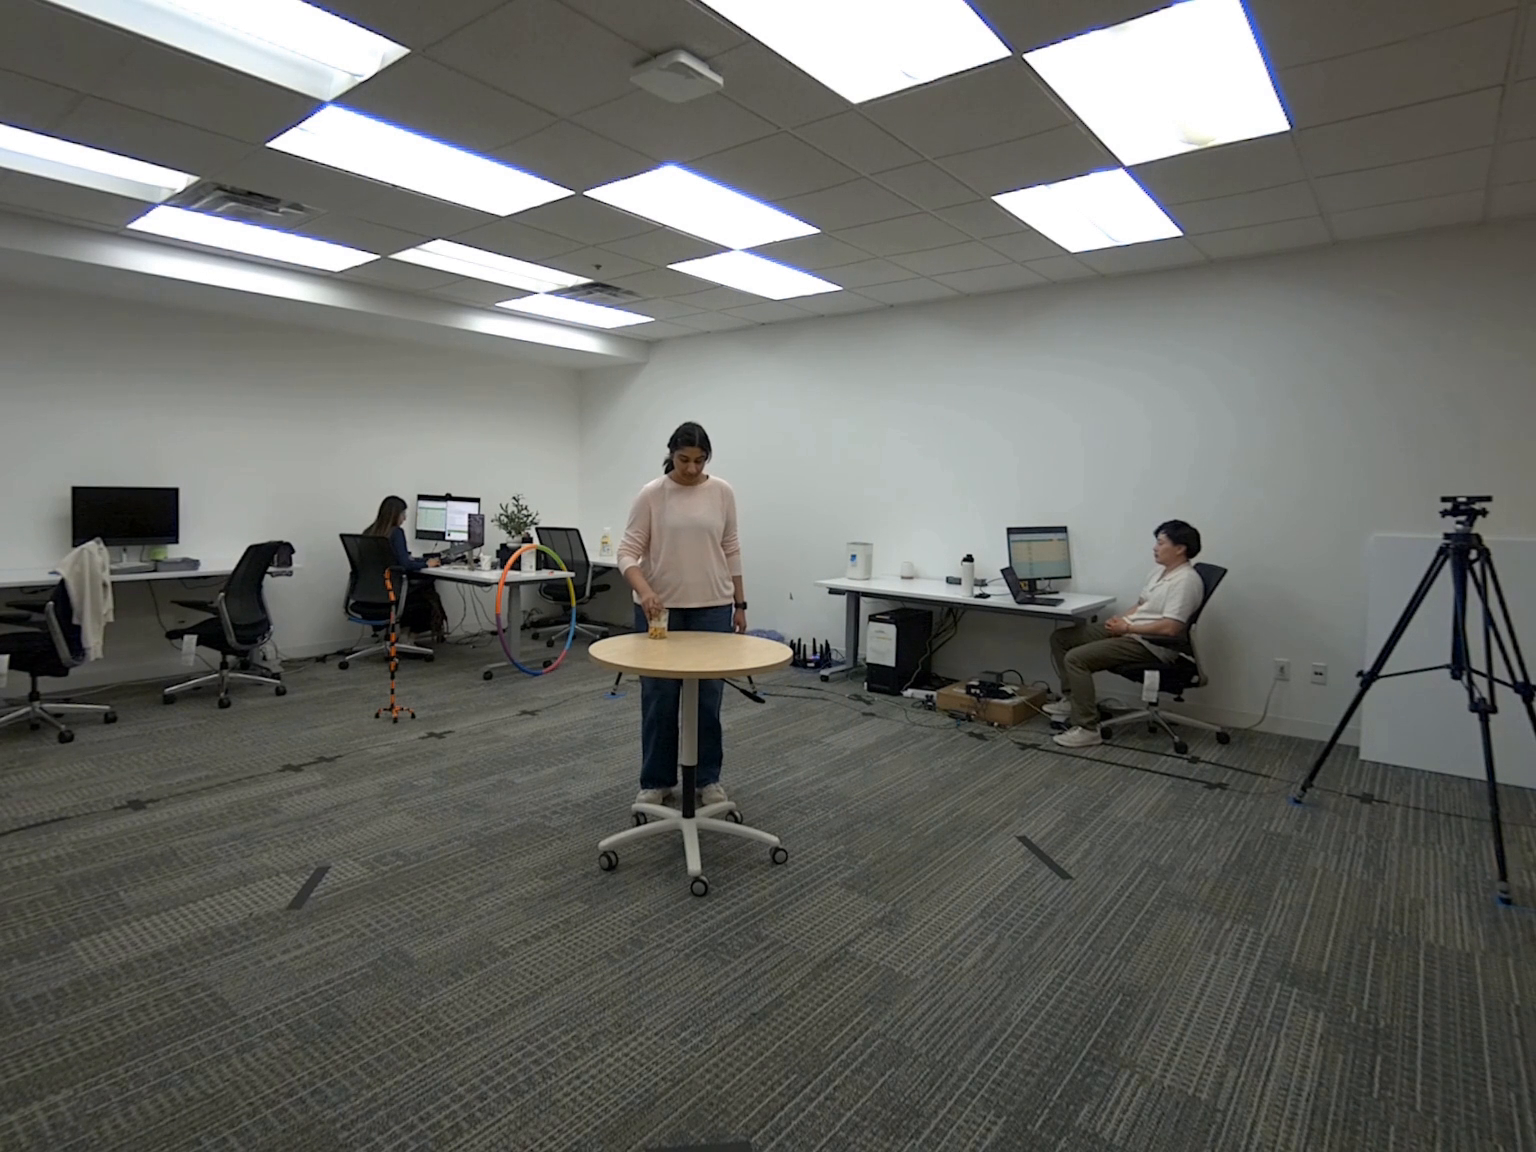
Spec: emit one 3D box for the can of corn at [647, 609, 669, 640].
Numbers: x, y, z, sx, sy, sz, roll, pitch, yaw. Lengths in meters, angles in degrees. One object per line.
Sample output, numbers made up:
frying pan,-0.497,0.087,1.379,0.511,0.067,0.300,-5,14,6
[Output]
can of corn,-0.453,0.186,3.422,0.074,0.111,0.074,5,2,-2
